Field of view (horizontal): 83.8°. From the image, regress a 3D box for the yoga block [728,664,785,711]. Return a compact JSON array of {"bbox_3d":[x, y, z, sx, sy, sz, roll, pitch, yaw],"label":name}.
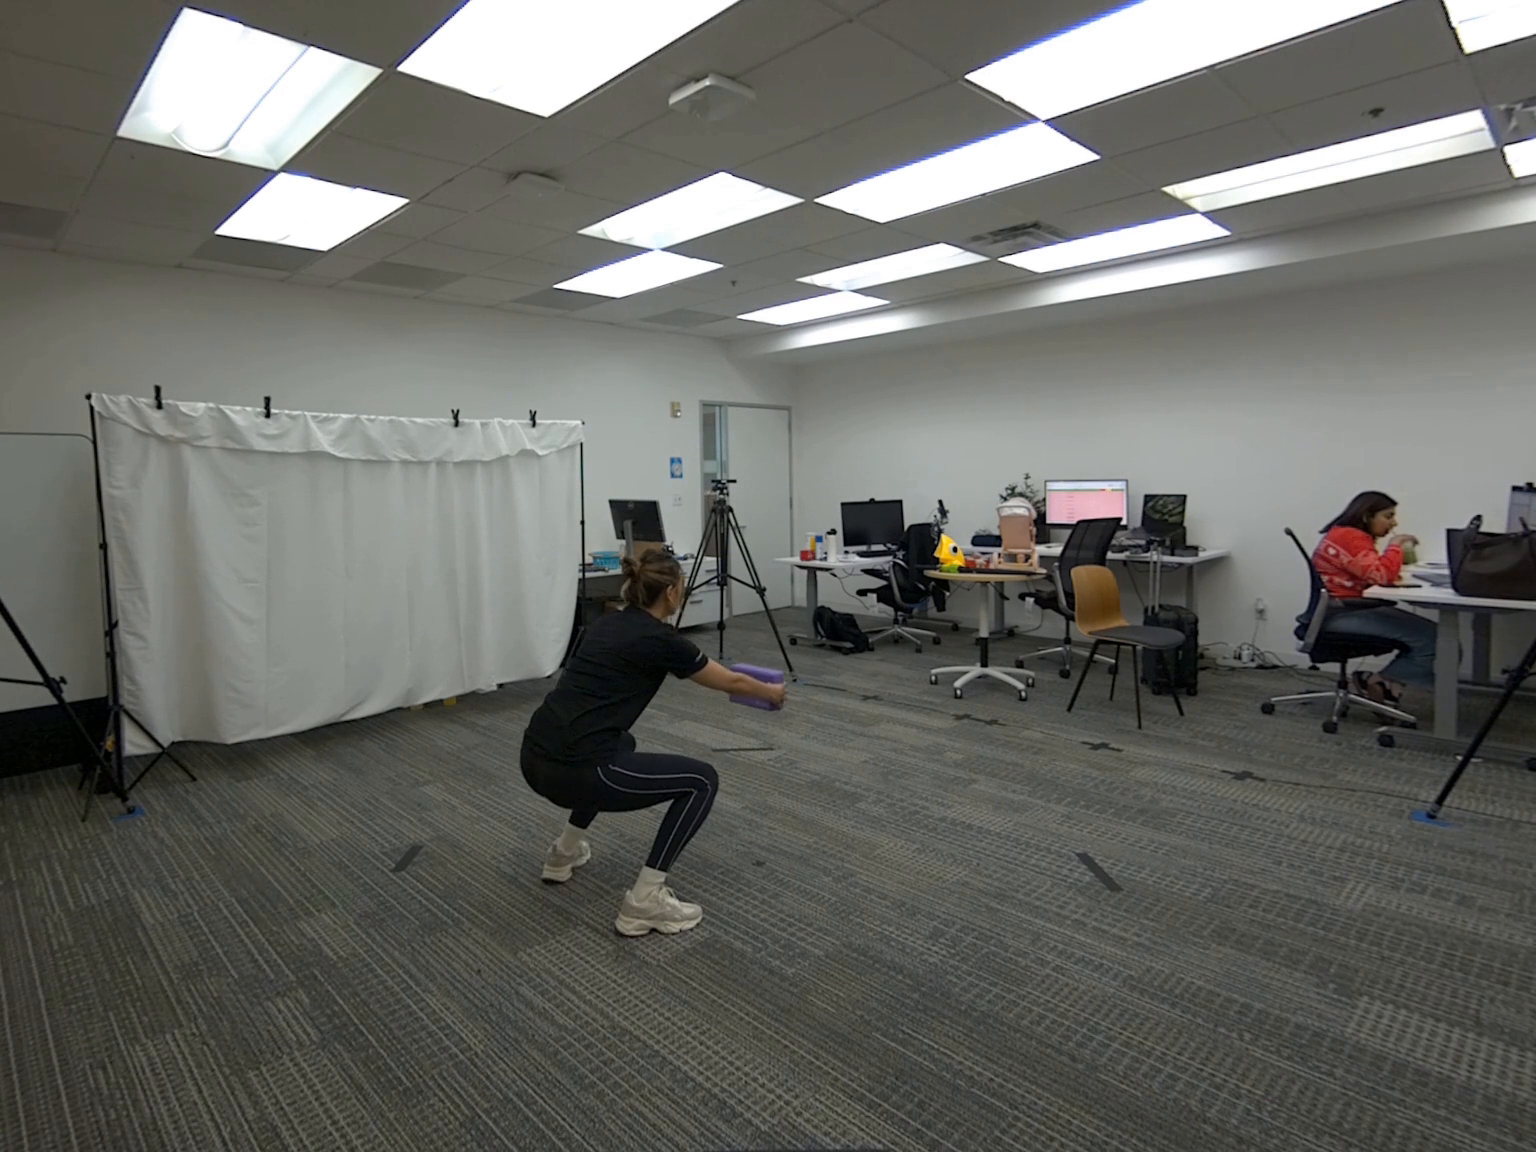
[{"bbox_3d":[-0.043,0.436,3.371,0.236,0.148,0.074,6,4,39],"label":"yoga block"}]
